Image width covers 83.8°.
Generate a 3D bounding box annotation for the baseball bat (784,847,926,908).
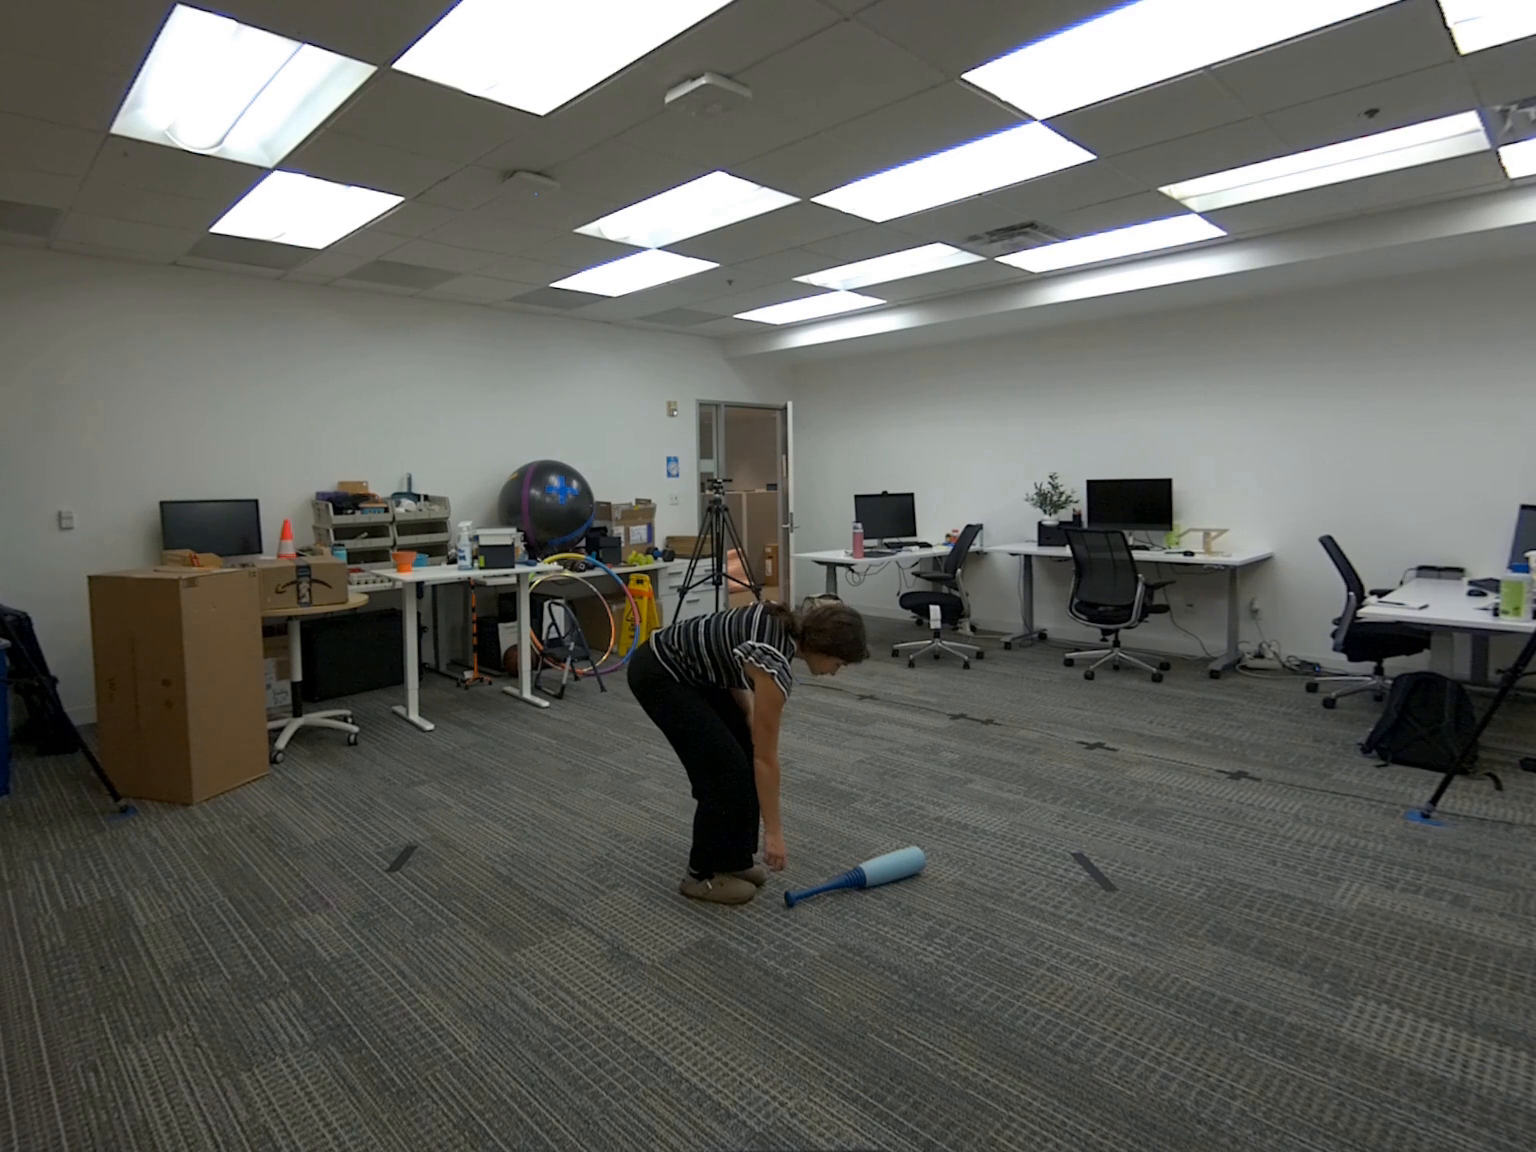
[{"bbox_3d":[0.299,1.024,2.897,0.533,0.088,0.091,-7,7,-23],"label":"baseball bat"}]
